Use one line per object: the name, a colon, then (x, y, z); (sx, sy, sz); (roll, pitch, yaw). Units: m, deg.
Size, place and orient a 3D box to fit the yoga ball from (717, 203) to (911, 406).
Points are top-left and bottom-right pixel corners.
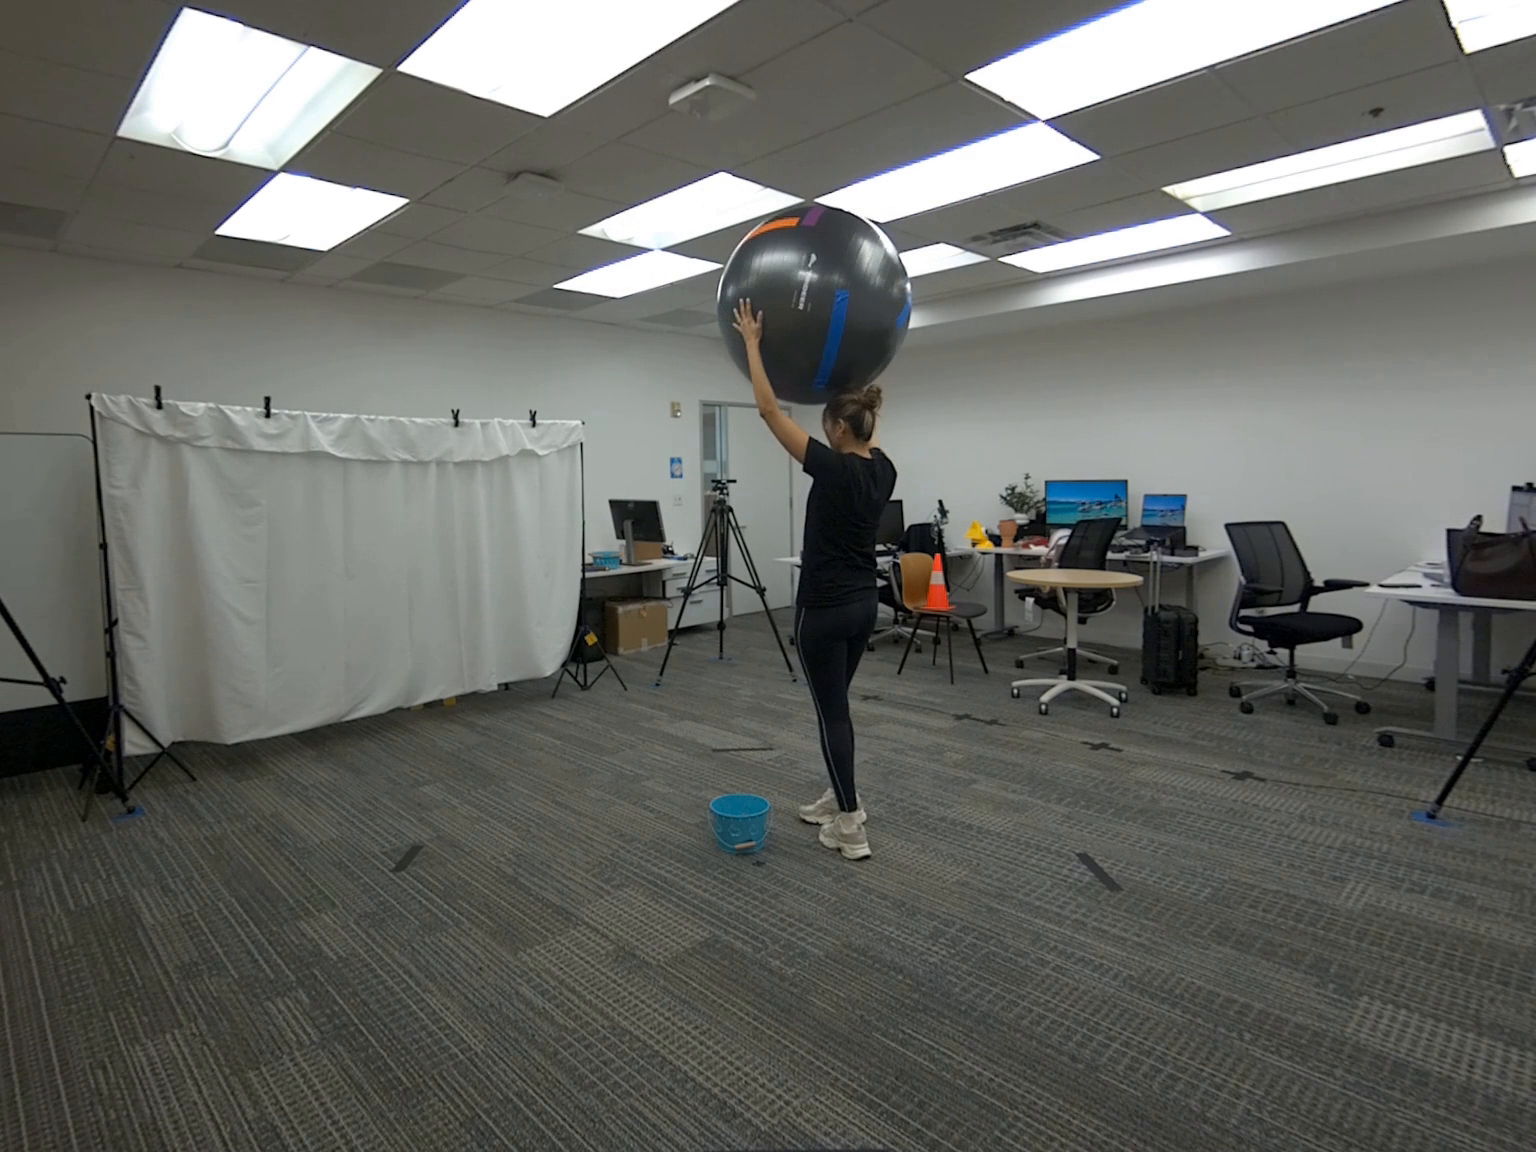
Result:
yoga ball: (0.180, -1.052, 3.365); (0.757, 0.755, 0.762); (-1, 5, -2)
